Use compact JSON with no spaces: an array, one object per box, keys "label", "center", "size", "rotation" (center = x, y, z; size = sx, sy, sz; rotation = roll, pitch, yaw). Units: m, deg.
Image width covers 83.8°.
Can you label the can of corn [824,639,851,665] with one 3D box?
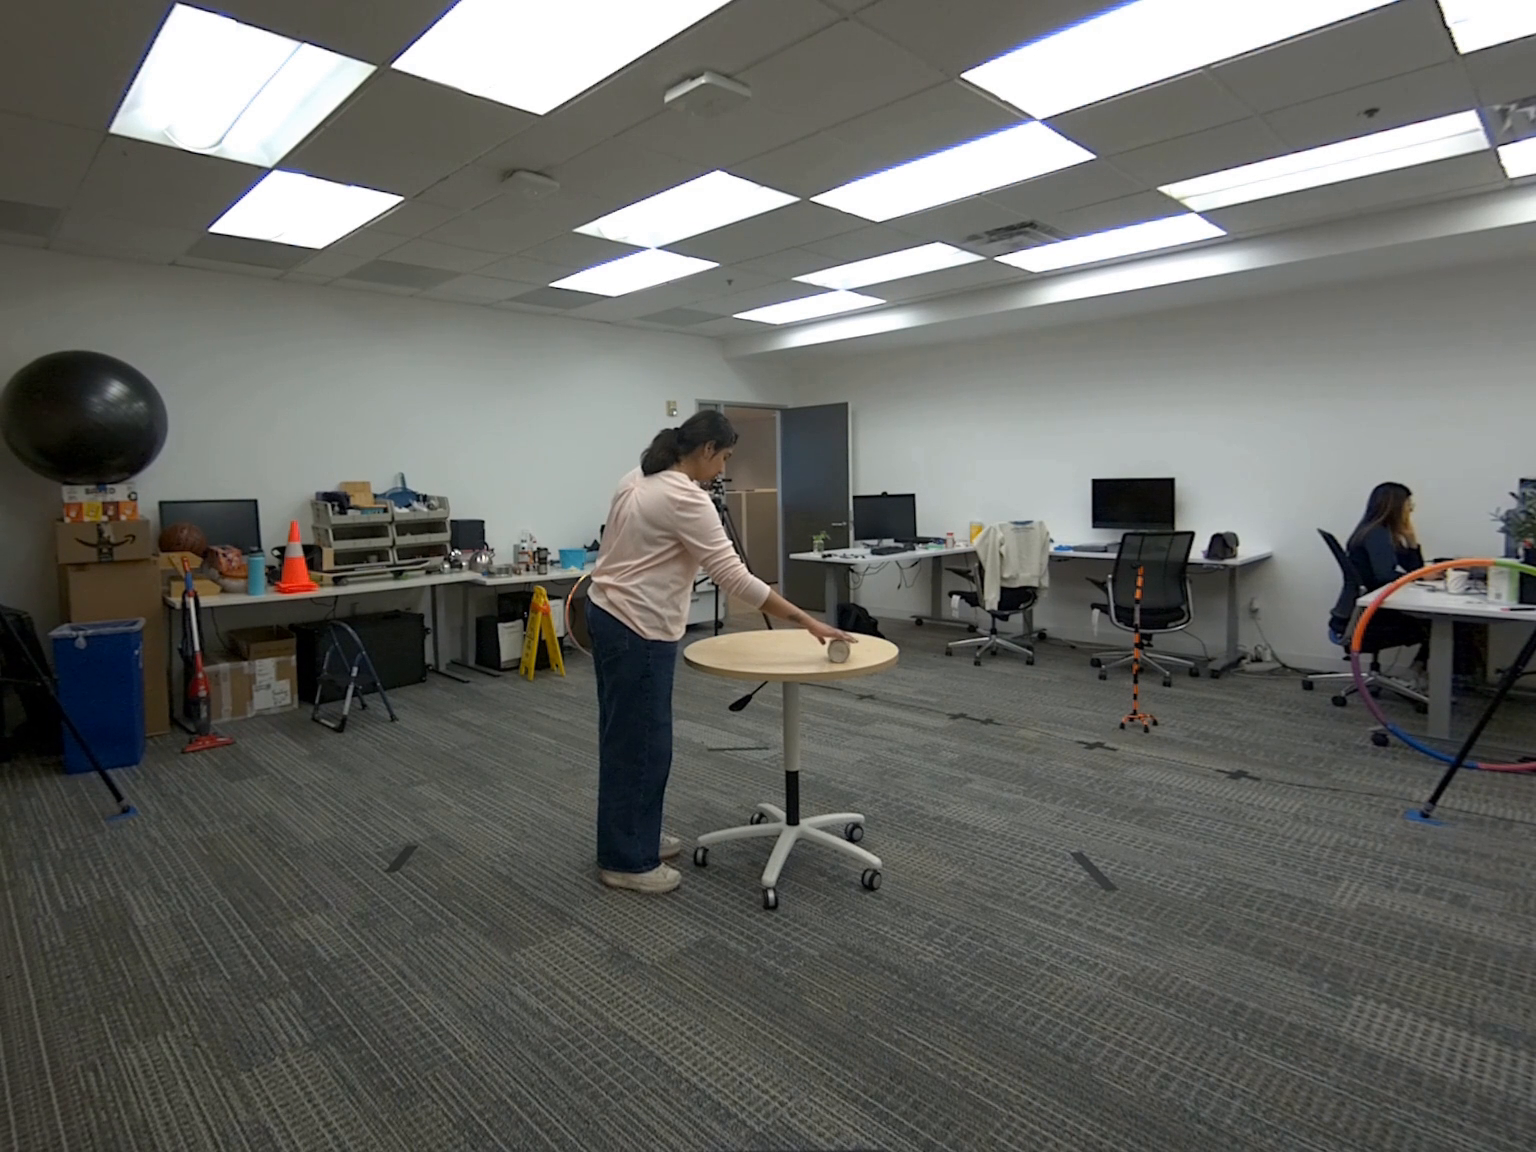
[{"label":"can of corn","center":[0.241,0.243,2.864],"size":[0.075,0.074,0.111],"rotation":[0,7,6]}]
